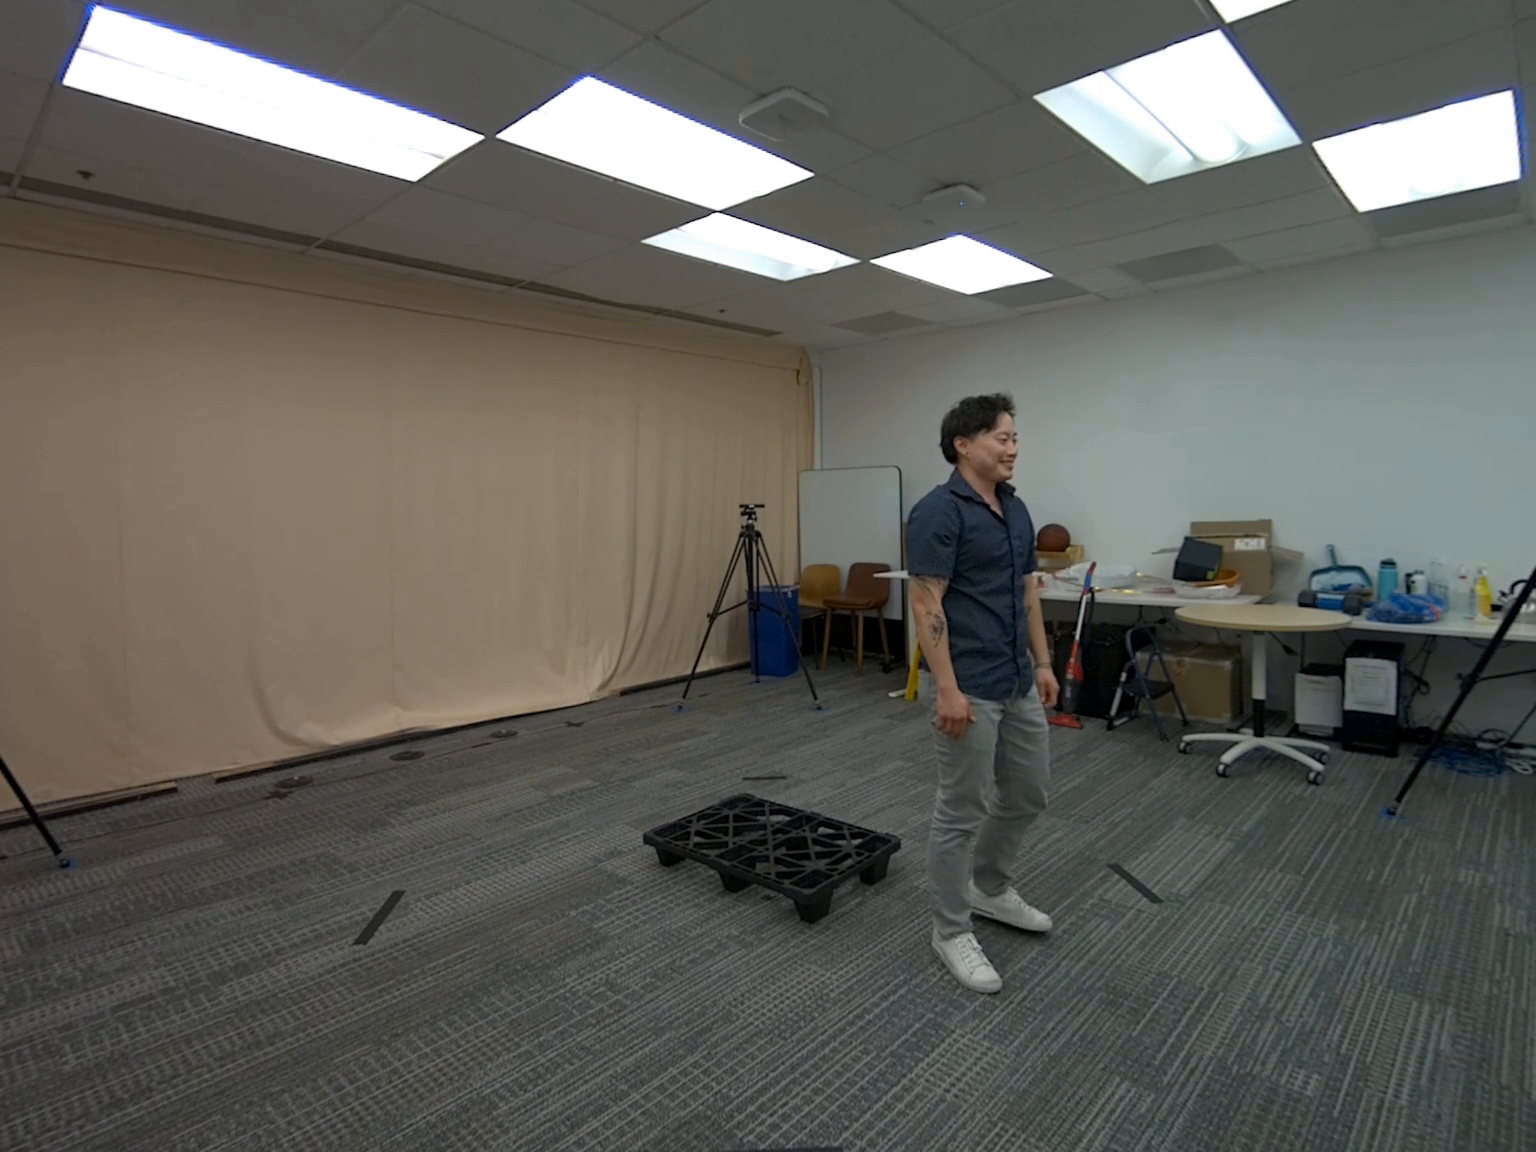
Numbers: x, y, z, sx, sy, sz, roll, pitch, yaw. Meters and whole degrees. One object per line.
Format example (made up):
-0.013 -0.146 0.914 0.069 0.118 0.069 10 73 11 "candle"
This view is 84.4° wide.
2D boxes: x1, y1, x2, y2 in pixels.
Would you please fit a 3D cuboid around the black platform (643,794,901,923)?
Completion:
0.010 1.053 3.206 0.832 0.143 0.587 3 6 41 "black platform"
